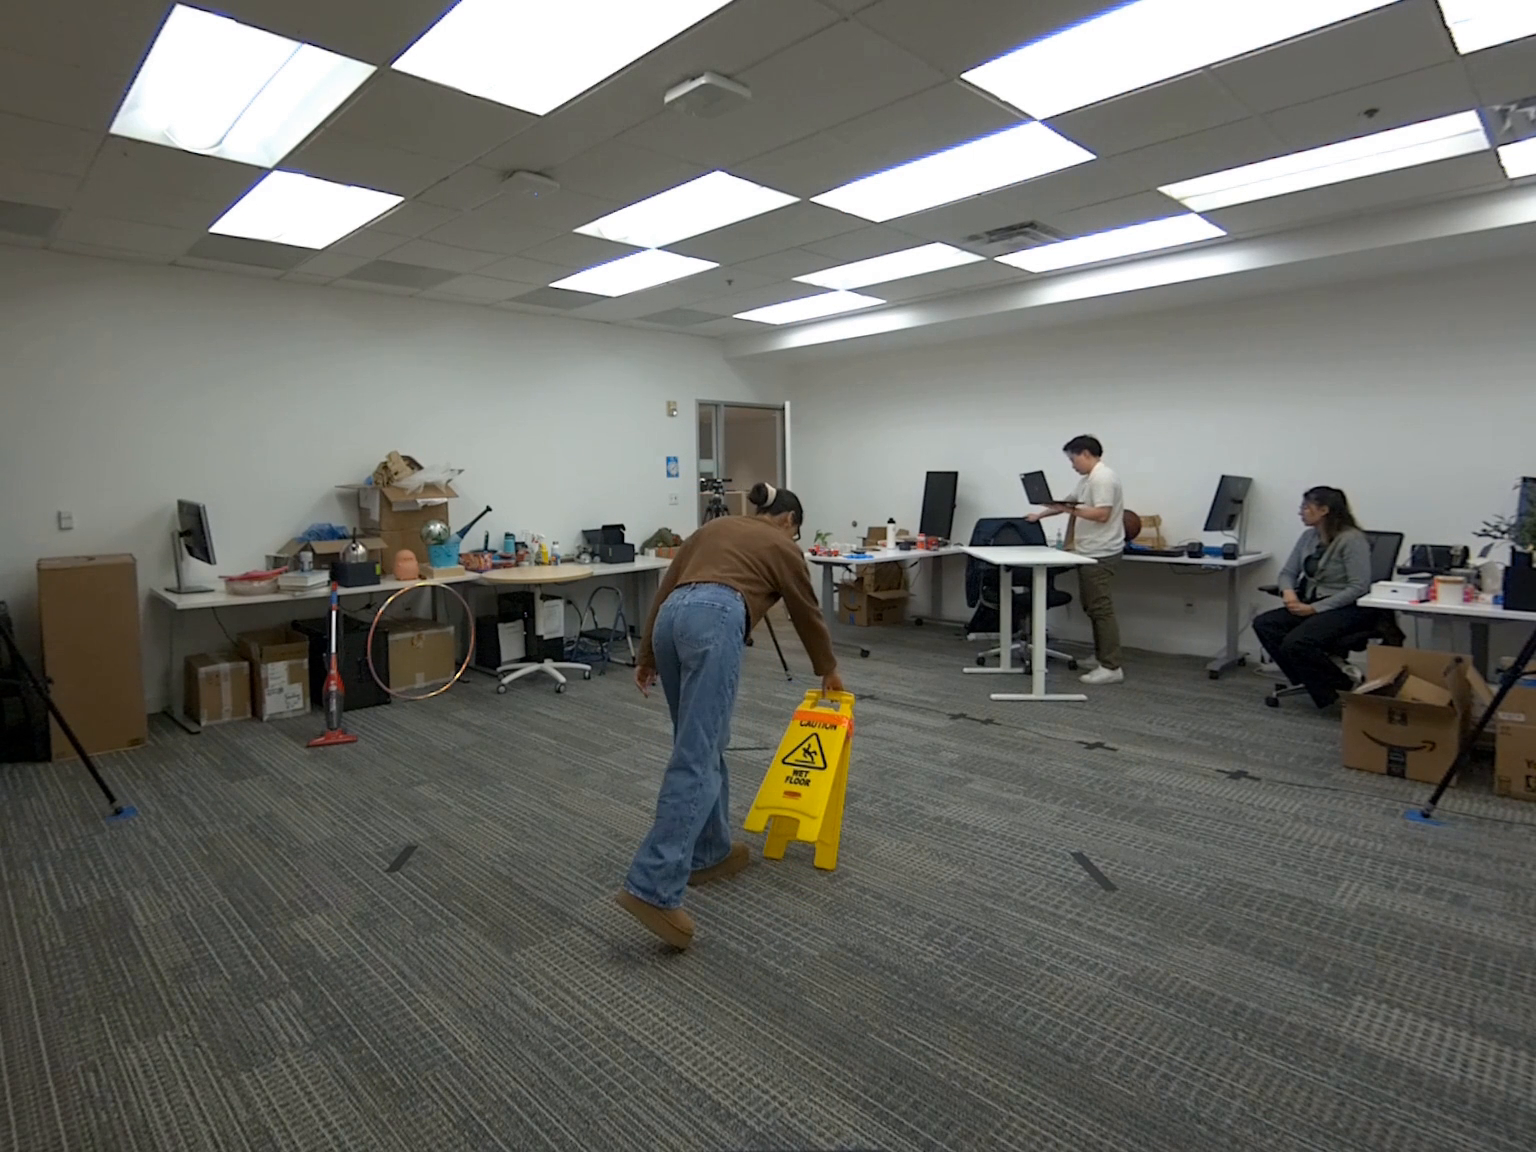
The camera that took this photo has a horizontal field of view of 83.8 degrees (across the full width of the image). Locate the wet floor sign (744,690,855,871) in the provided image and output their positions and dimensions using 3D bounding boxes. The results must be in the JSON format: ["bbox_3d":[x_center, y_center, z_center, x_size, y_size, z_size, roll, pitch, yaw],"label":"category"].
[{"bbox_3d":[0.160,0.716,3.198,0.288,0.656,0.279,-1,-39,24],"label":"wet floor sign"}]
